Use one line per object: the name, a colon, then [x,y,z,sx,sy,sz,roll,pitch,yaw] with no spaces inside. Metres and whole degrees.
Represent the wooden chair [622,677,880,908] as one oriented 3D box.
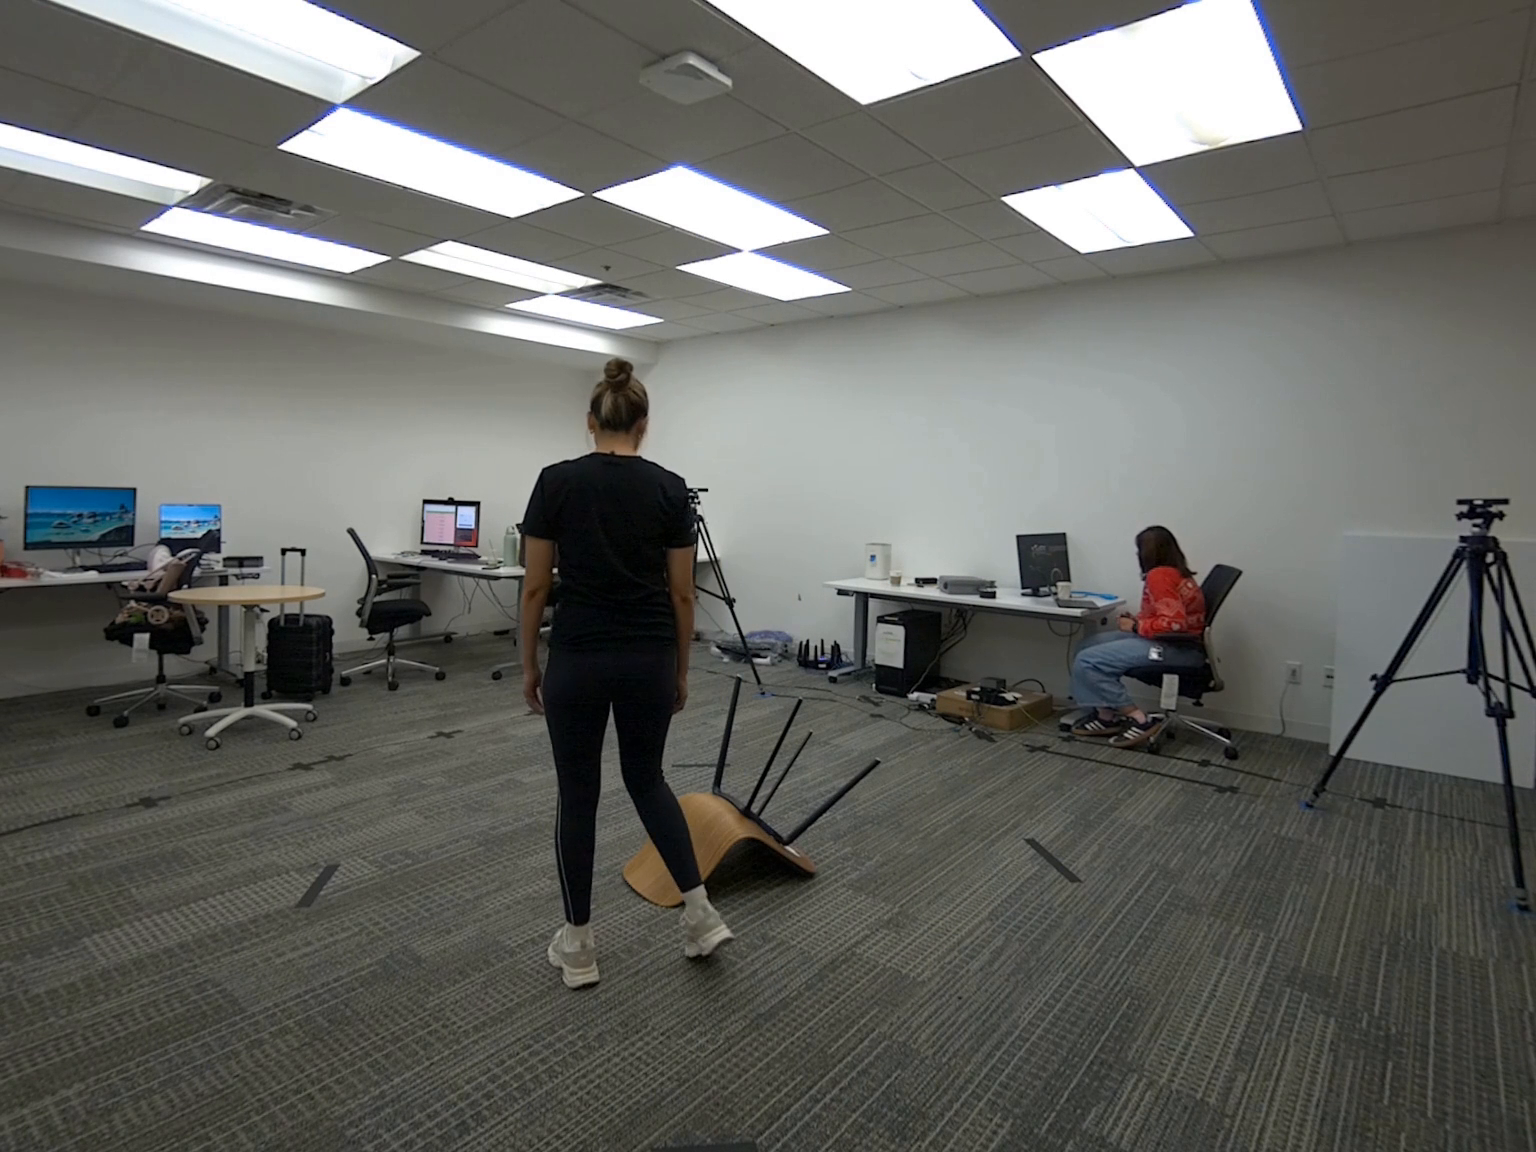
wooden chair: [-0.073,0.895,3.161,0.507,0.879,0.492,44,-19,-25]
